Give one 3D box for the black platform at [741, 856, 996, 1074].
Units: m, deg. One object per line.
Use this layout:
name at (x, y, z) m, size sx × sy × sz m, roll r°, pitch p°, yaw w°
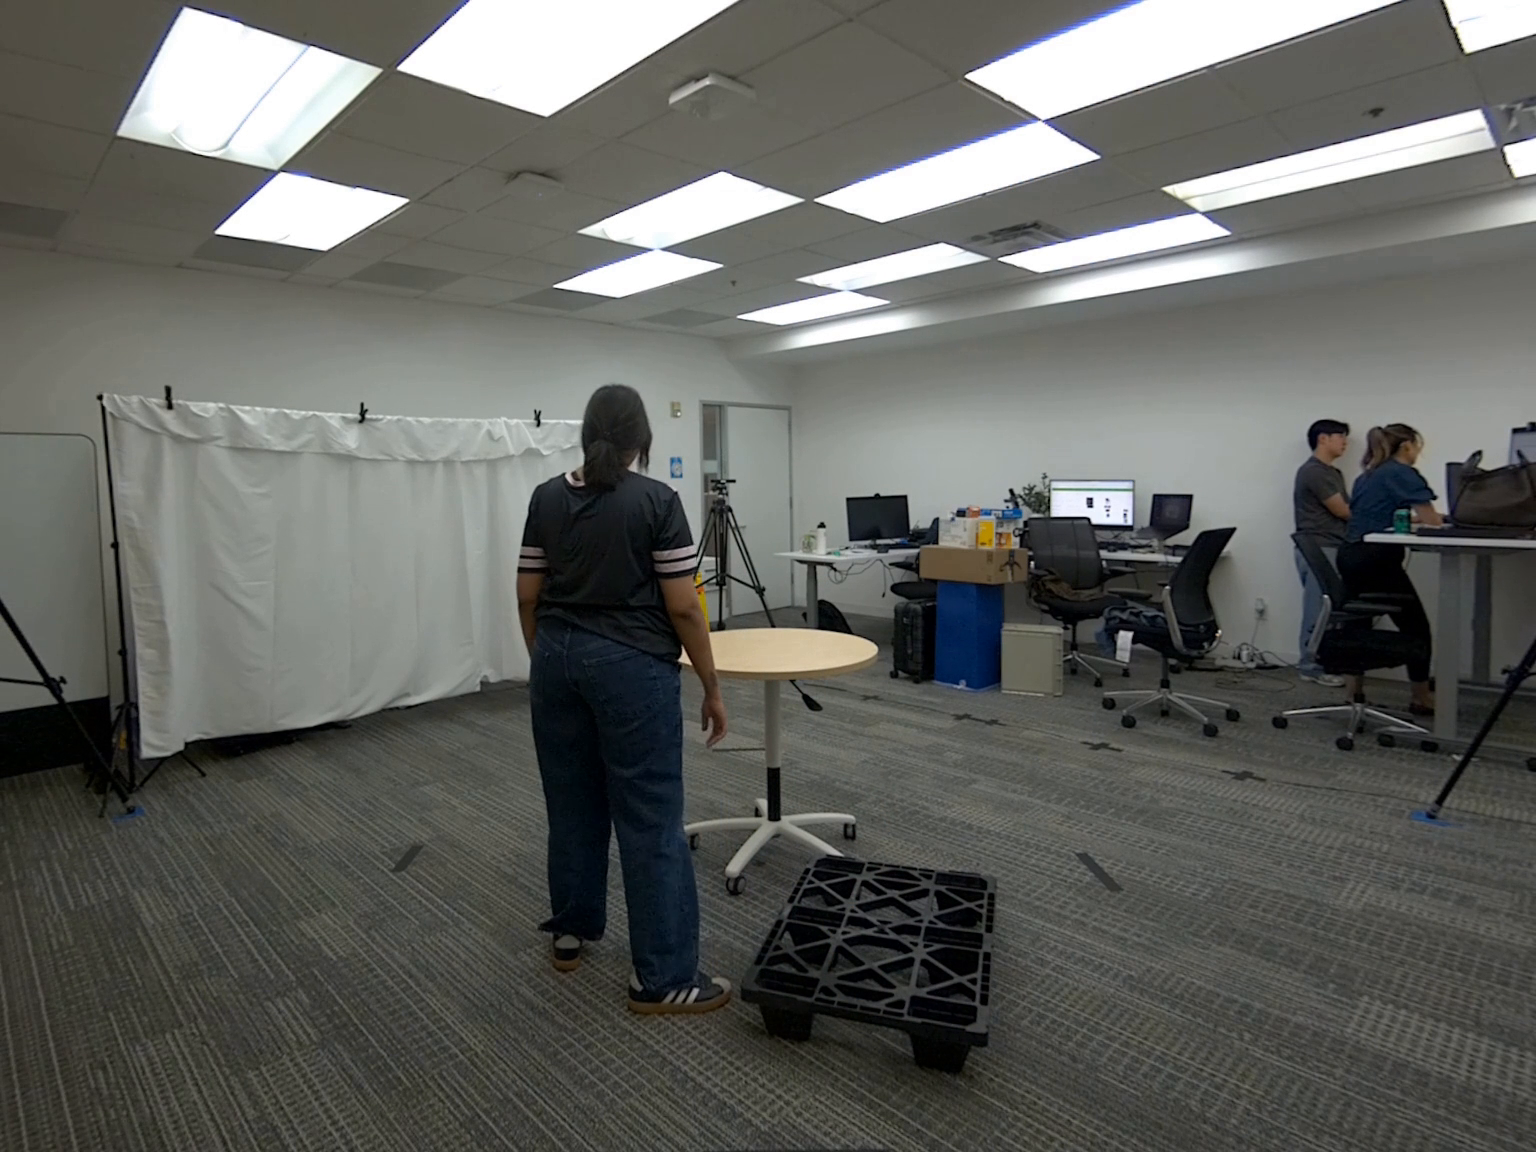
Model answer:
black platform at (0.324, 1.053, 2.413) m, size 0.616 × 0.142 × 0.795 m, roll 0°, pitch 7°, yaw 17°
